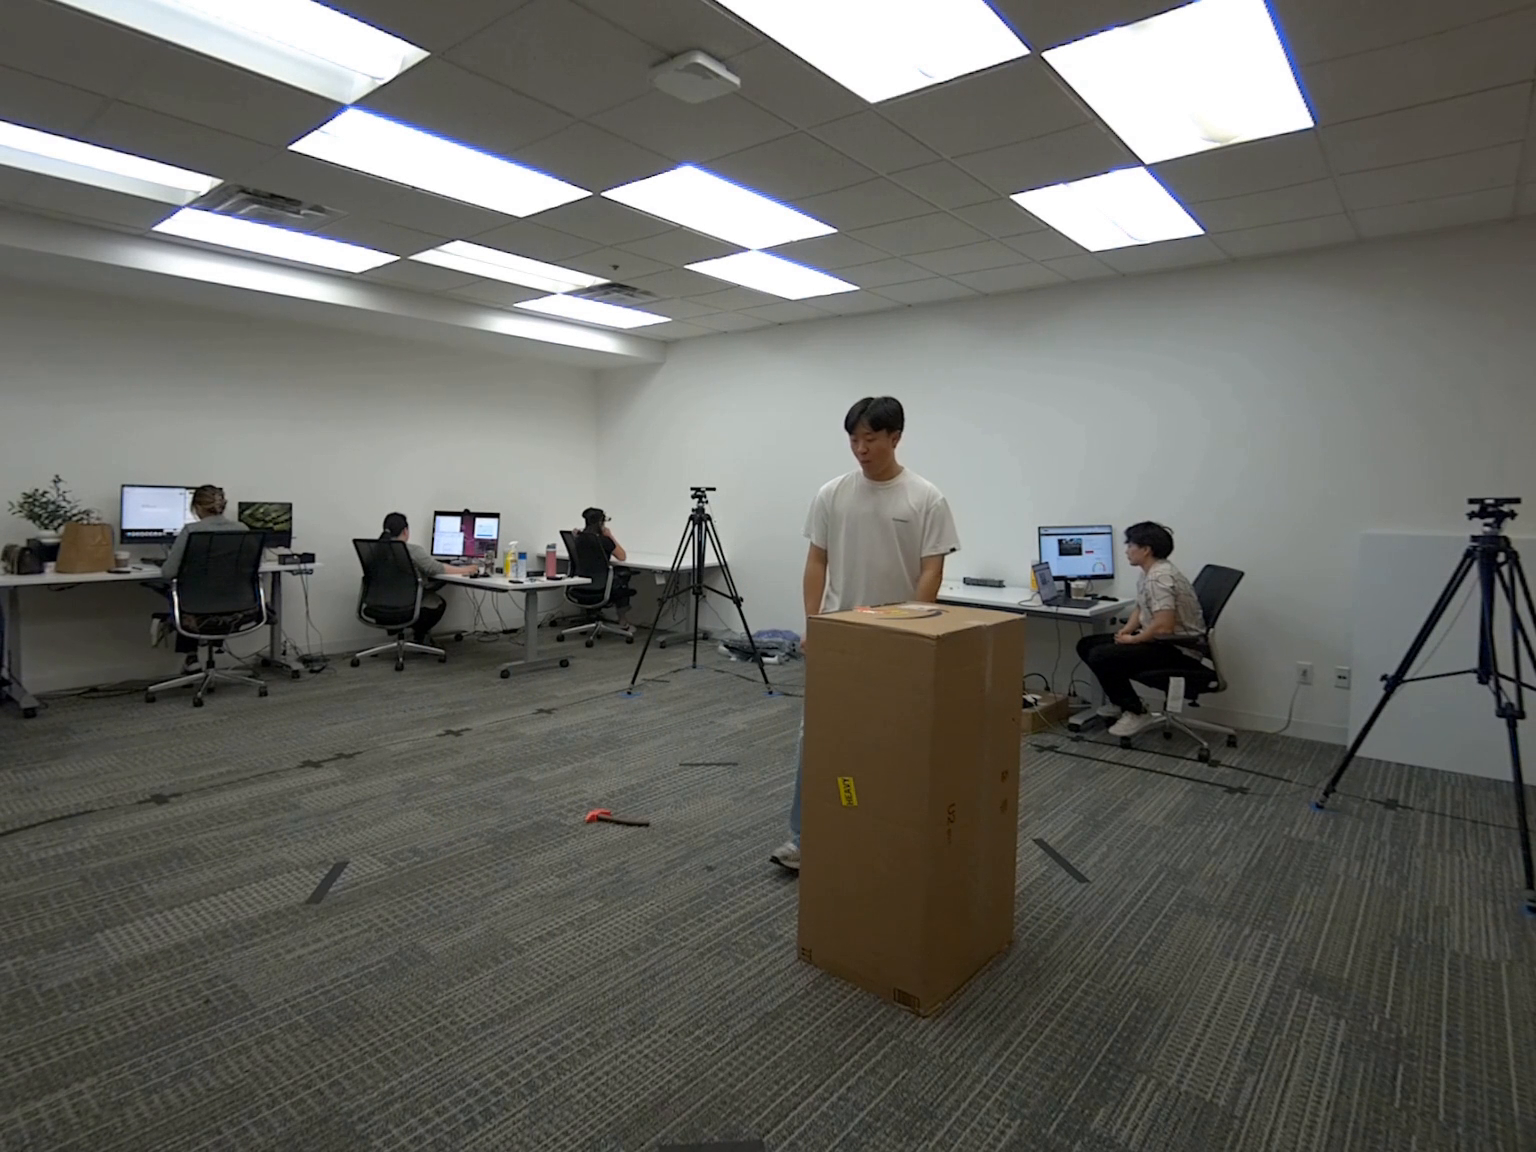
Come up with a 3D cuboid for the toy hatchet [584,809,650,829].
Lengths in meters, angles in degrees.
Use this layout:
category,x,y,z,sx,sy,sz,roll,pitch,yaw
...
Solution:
category,x,y,z,sx,sy,sz,roll,pitch,yaw
toy hatchet,-0.634,1.005,3.552,0.271,0.029,0.131,3,5,3
